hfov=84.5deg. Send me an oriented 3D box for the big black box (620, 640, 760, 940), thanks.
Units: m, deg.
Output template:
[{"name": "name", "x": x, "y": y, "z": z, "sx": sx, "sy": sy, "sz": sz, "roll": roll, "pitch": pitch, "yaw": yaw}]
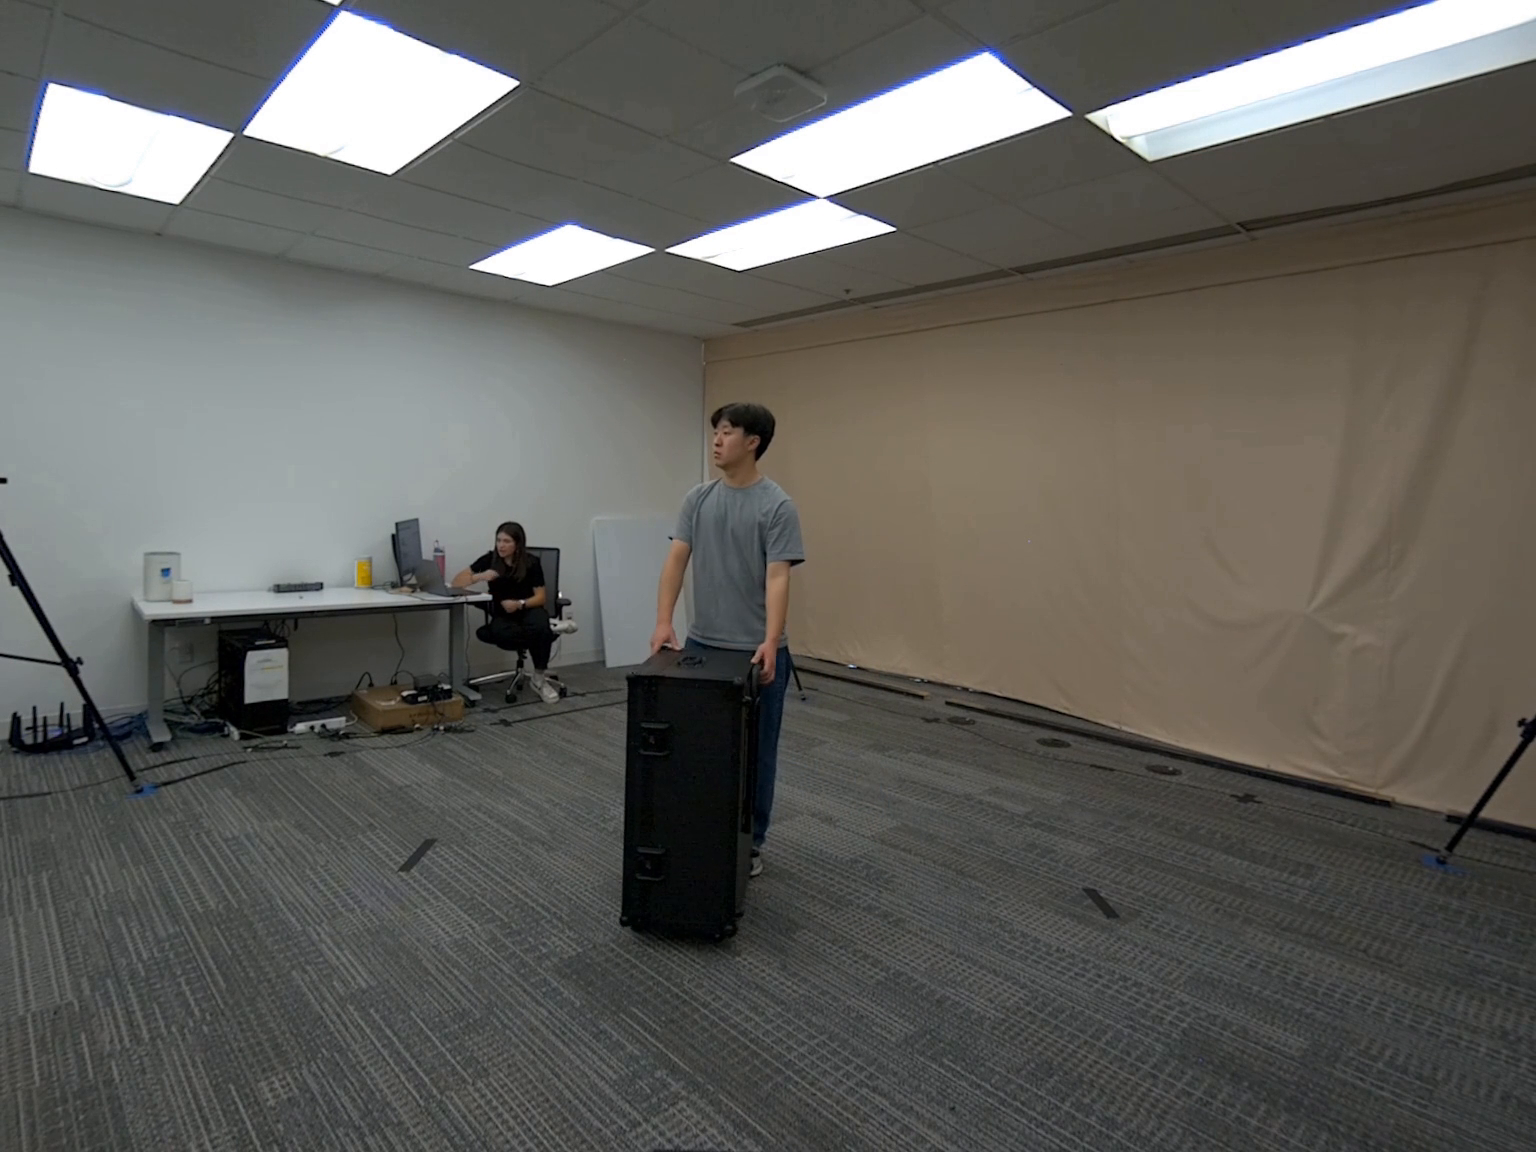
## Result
[{"name": "big black box", "x": -0.240, "y": 0.711, "z": 2.777, "sx": 0.399, "sy": 0.859, "sz": 0.519, "roll": 3, "pitch": 3, "yaw": 6}]
